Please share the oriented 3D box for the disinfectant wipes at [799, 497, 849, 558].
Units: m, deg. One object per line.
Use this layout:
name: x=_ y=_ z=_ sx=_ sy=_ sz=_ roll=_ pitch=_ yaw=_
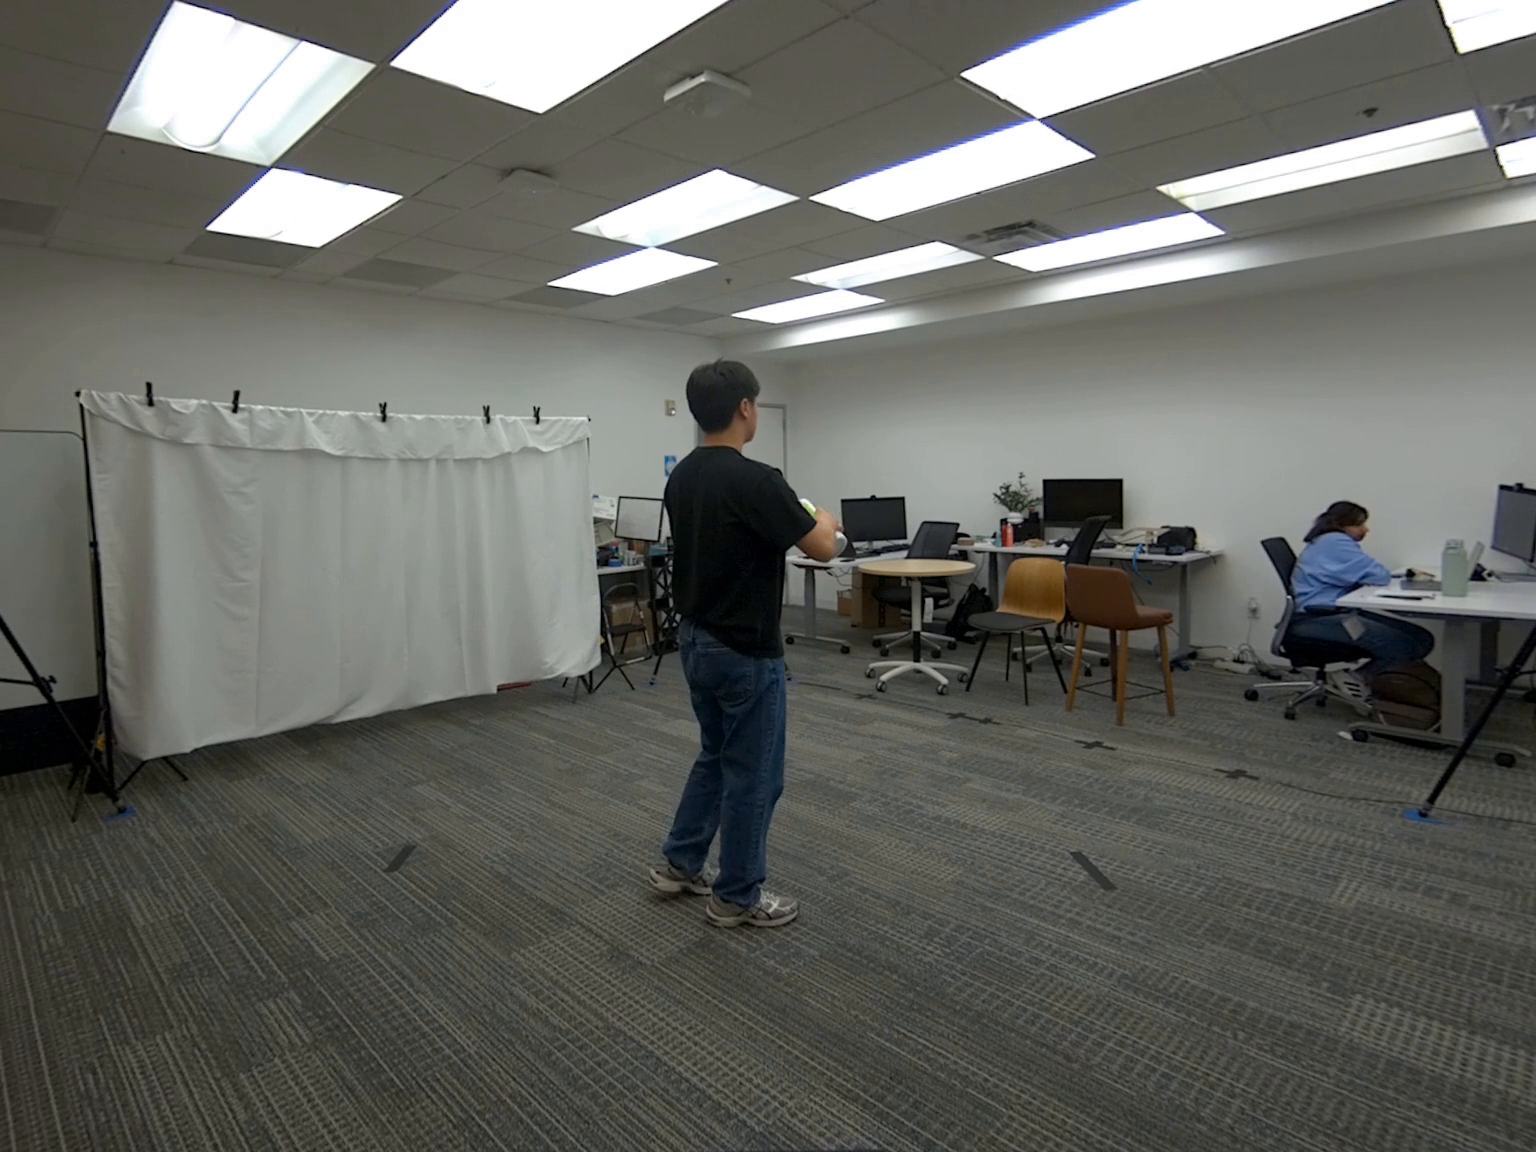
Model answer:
disinfectant wipes: x=0.170 y=-0.162 z=2.910 sx=0.115 sy=0.117 sz=0.225 roll=-6 pitch=44 yaw=-47
